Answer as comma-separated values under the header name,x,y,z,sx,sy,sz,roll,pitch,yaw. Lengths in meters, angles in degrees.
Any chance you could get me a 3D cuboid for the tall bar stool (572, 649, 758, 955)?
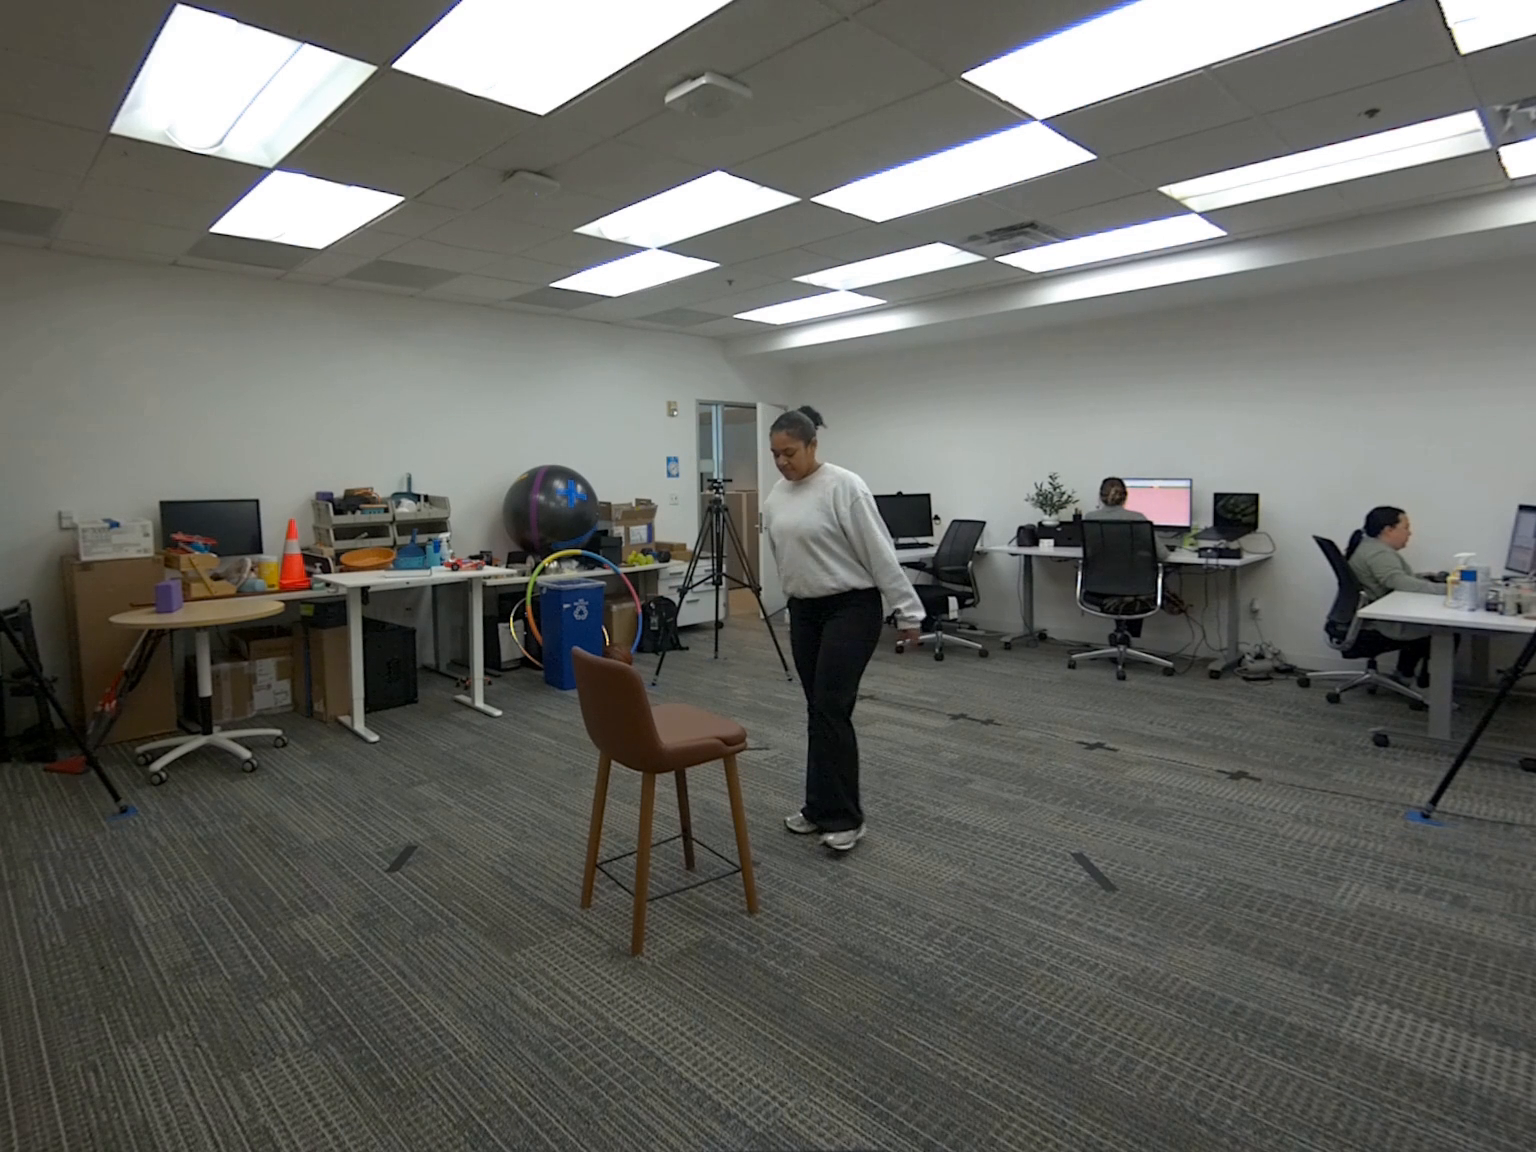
name,x,y,z,sx,sy,sz,roll,pitch,yaw
tall bar stool,-0.341,0.655,2.760,0.456,0.885,0.470,-7,7,-36
